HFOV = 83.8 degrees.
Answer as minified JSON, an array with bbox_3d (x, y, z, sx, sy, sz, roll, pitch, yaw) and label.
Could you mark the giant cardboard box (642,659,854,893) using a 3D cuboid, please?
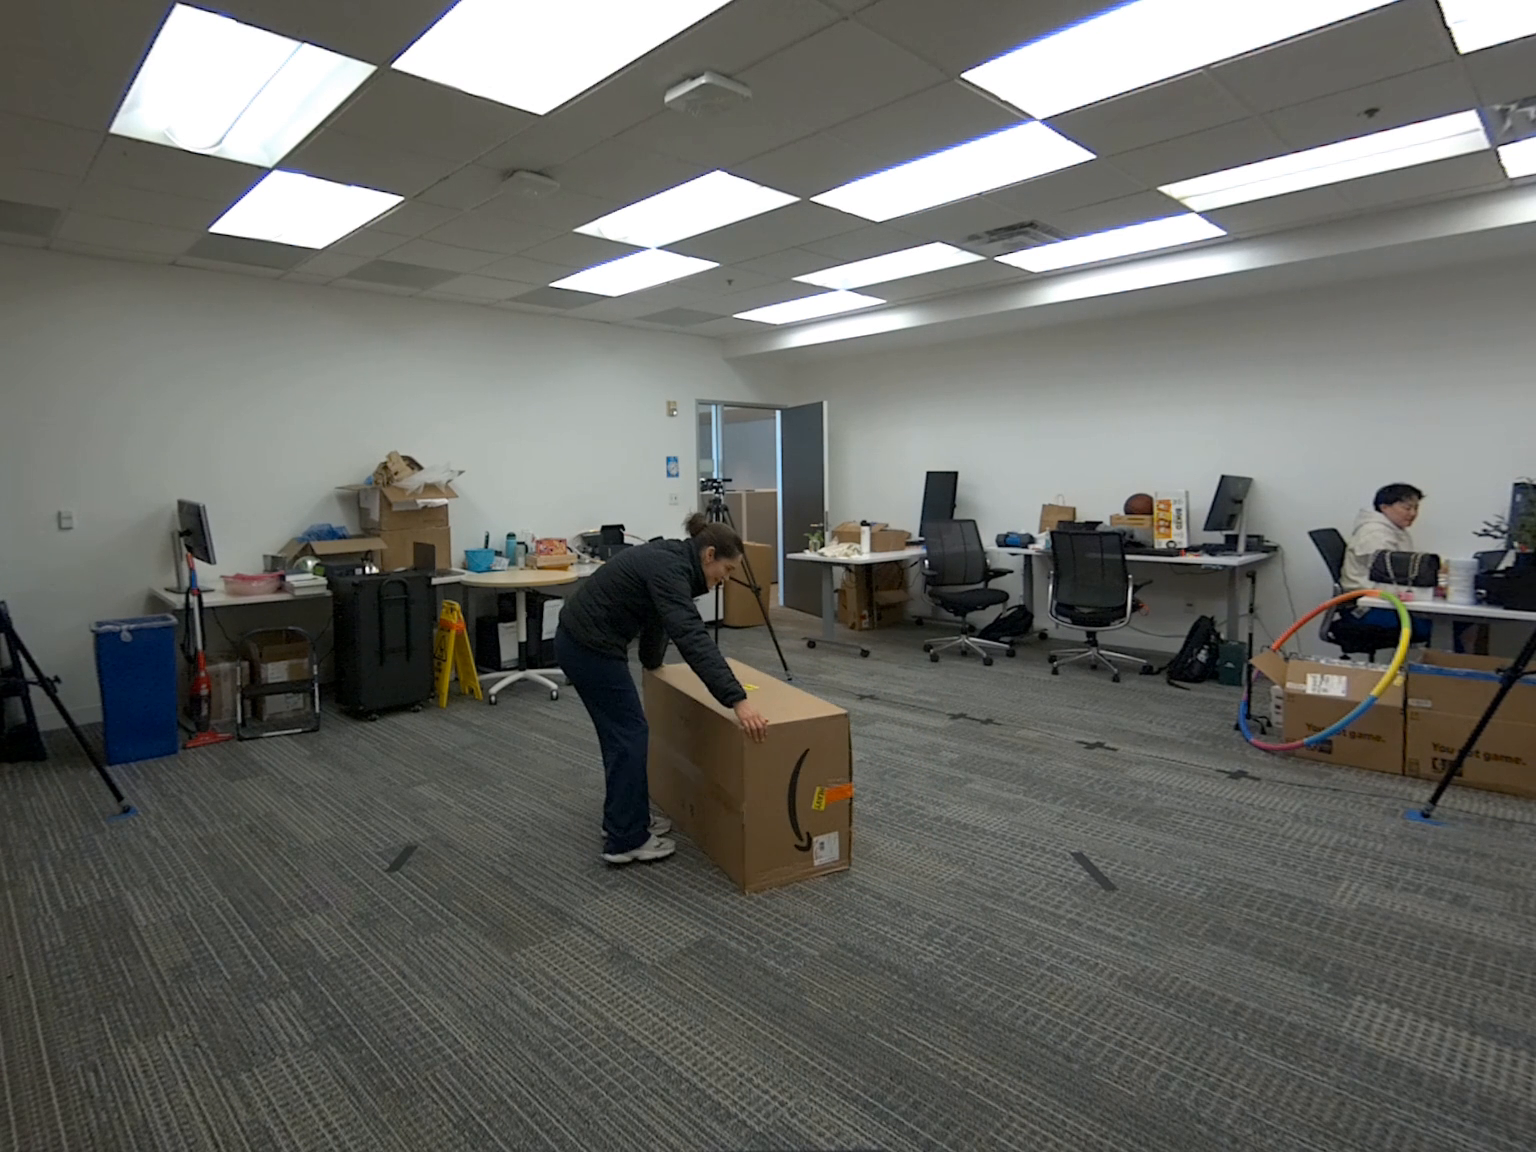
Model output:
[{"bbox_3d":[-0.124,0.723,3.413,0.437,0.581,1.054,-2,6,-27],"label":"giant cardboard box"}]
